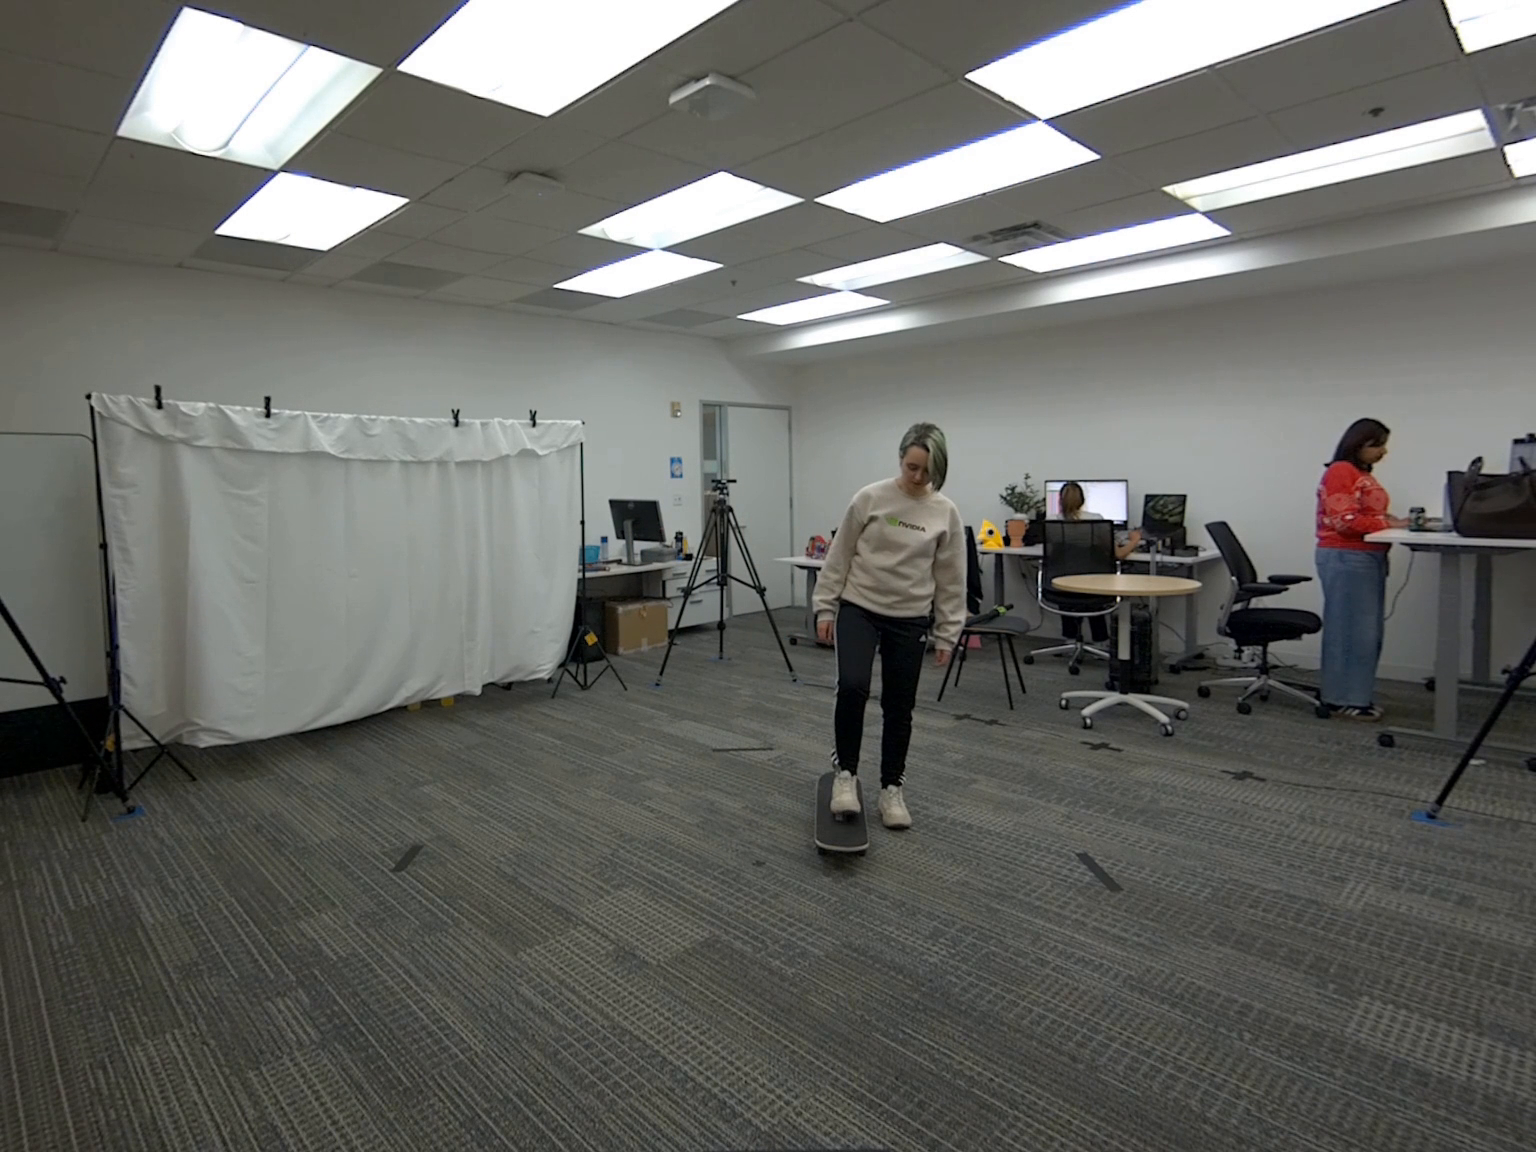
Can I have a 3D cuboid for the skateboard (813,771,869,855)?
[{"bbox_3d":[0.290,0.955,3.373,0.194,0.110,0.786,-1,7,3],"label":"skateboard"}]
